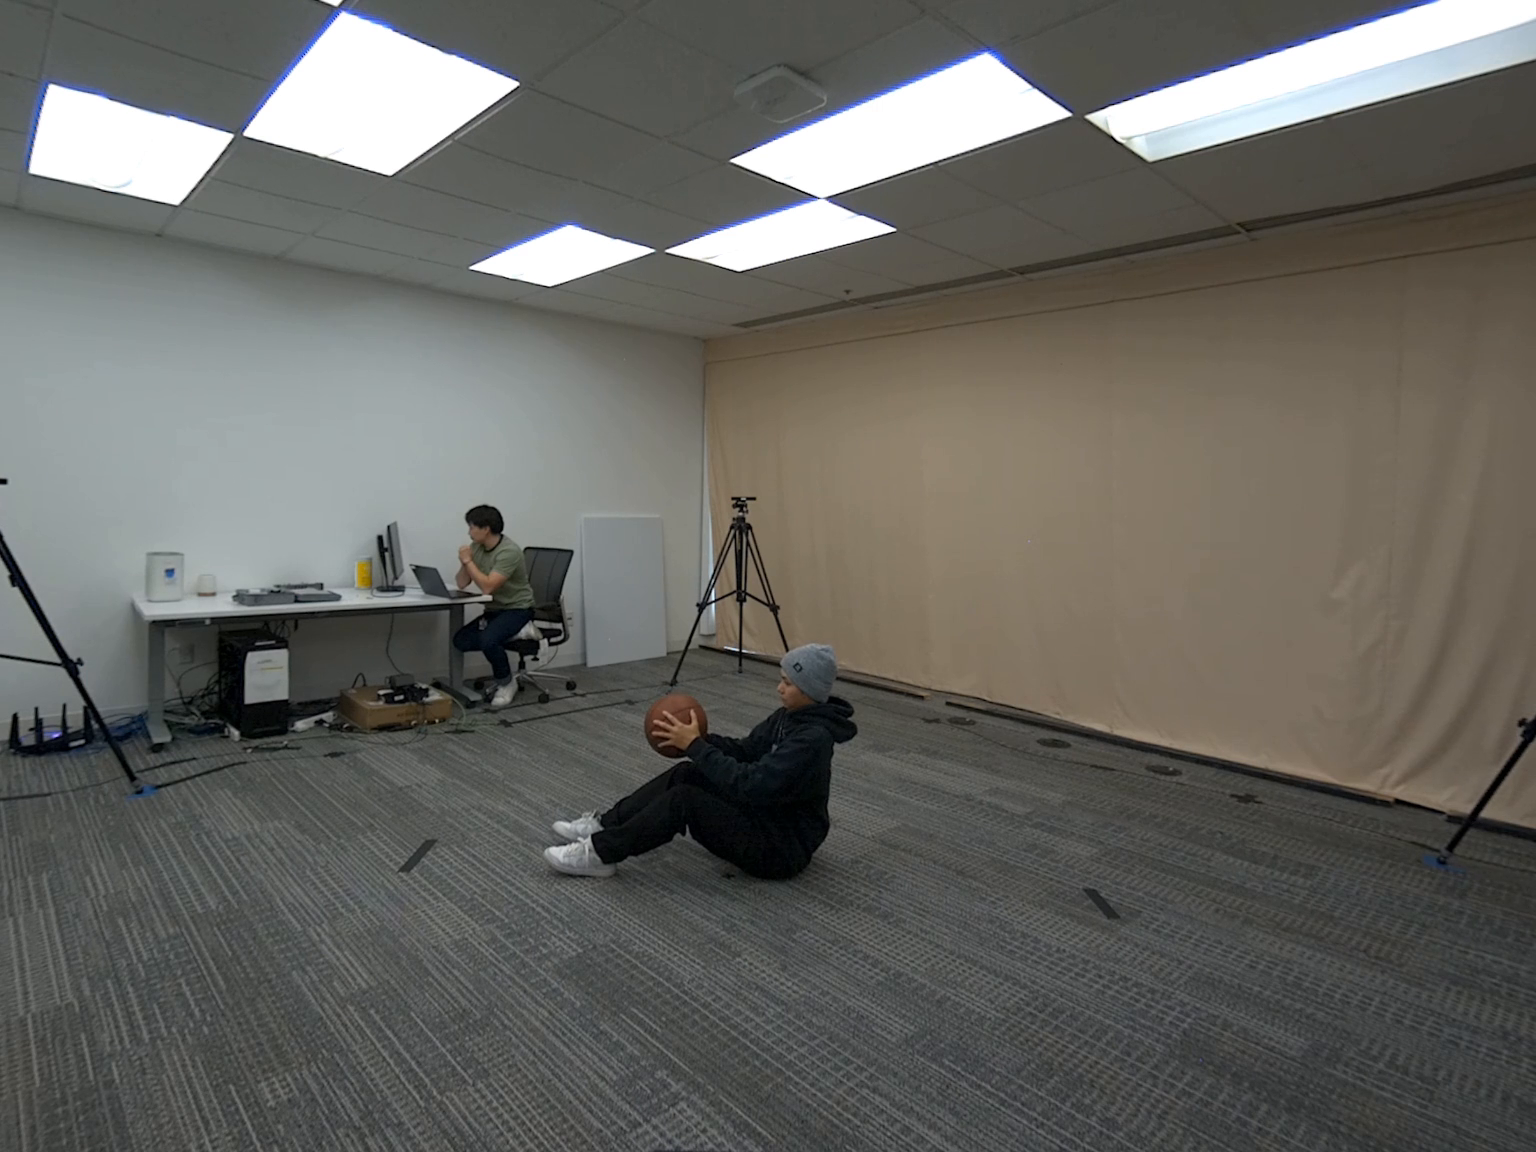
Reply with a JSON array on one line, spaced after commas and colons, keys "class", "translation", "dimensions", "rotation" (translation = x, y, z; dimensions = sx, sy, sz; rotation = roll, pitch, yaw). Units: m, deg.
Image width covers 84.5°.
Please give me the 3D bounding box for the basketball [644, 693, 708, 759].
[{"class": "basketball", "translation": [-0.344, 0.561, 3.158], "dimensions": [0.236, 0.235, 0.237], "rotation": [1, 4, -1]}]
